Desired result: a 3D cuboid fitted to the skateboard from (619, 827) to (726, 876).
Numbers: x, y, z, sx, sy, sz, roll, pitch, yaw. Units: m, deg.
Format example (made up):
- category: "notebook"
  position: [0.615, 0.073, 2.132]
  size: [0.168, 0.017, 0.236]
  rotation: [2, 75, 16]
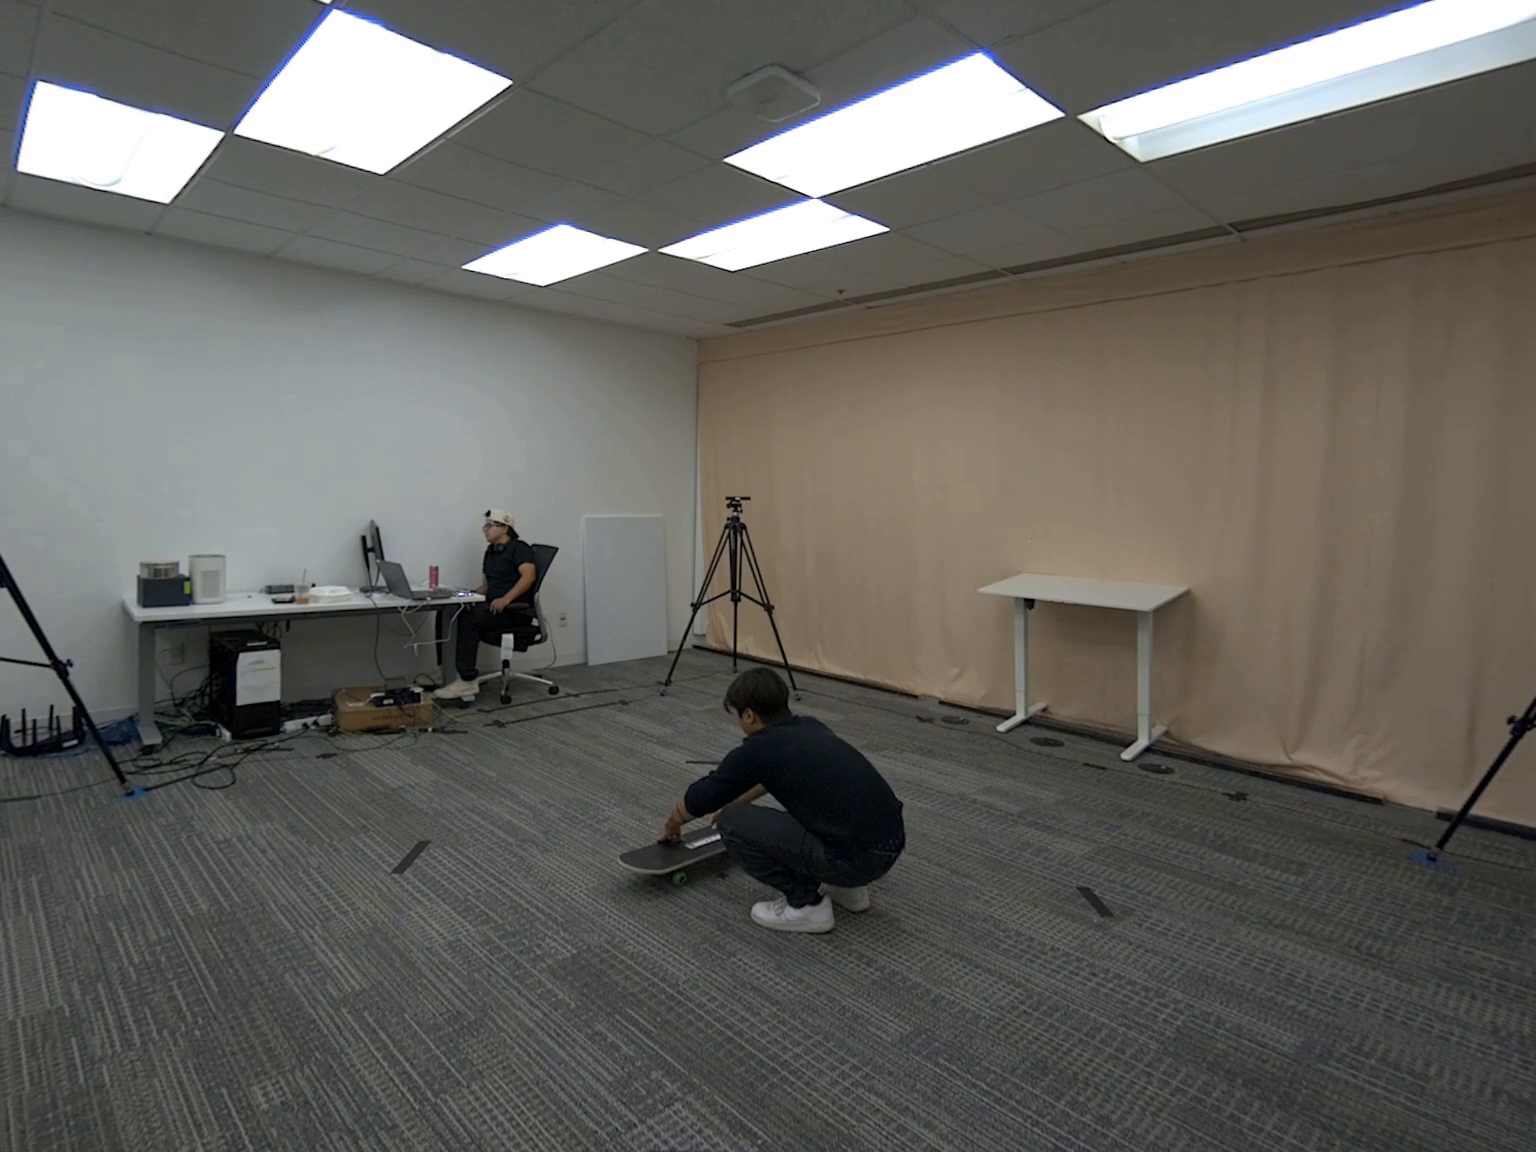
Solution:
- category: "skateboard"
  position: [-0.241, 1.028, 3.207]
  size: [0.198, 0.110, 0.767]
  rotation: [8, 8, 44]
